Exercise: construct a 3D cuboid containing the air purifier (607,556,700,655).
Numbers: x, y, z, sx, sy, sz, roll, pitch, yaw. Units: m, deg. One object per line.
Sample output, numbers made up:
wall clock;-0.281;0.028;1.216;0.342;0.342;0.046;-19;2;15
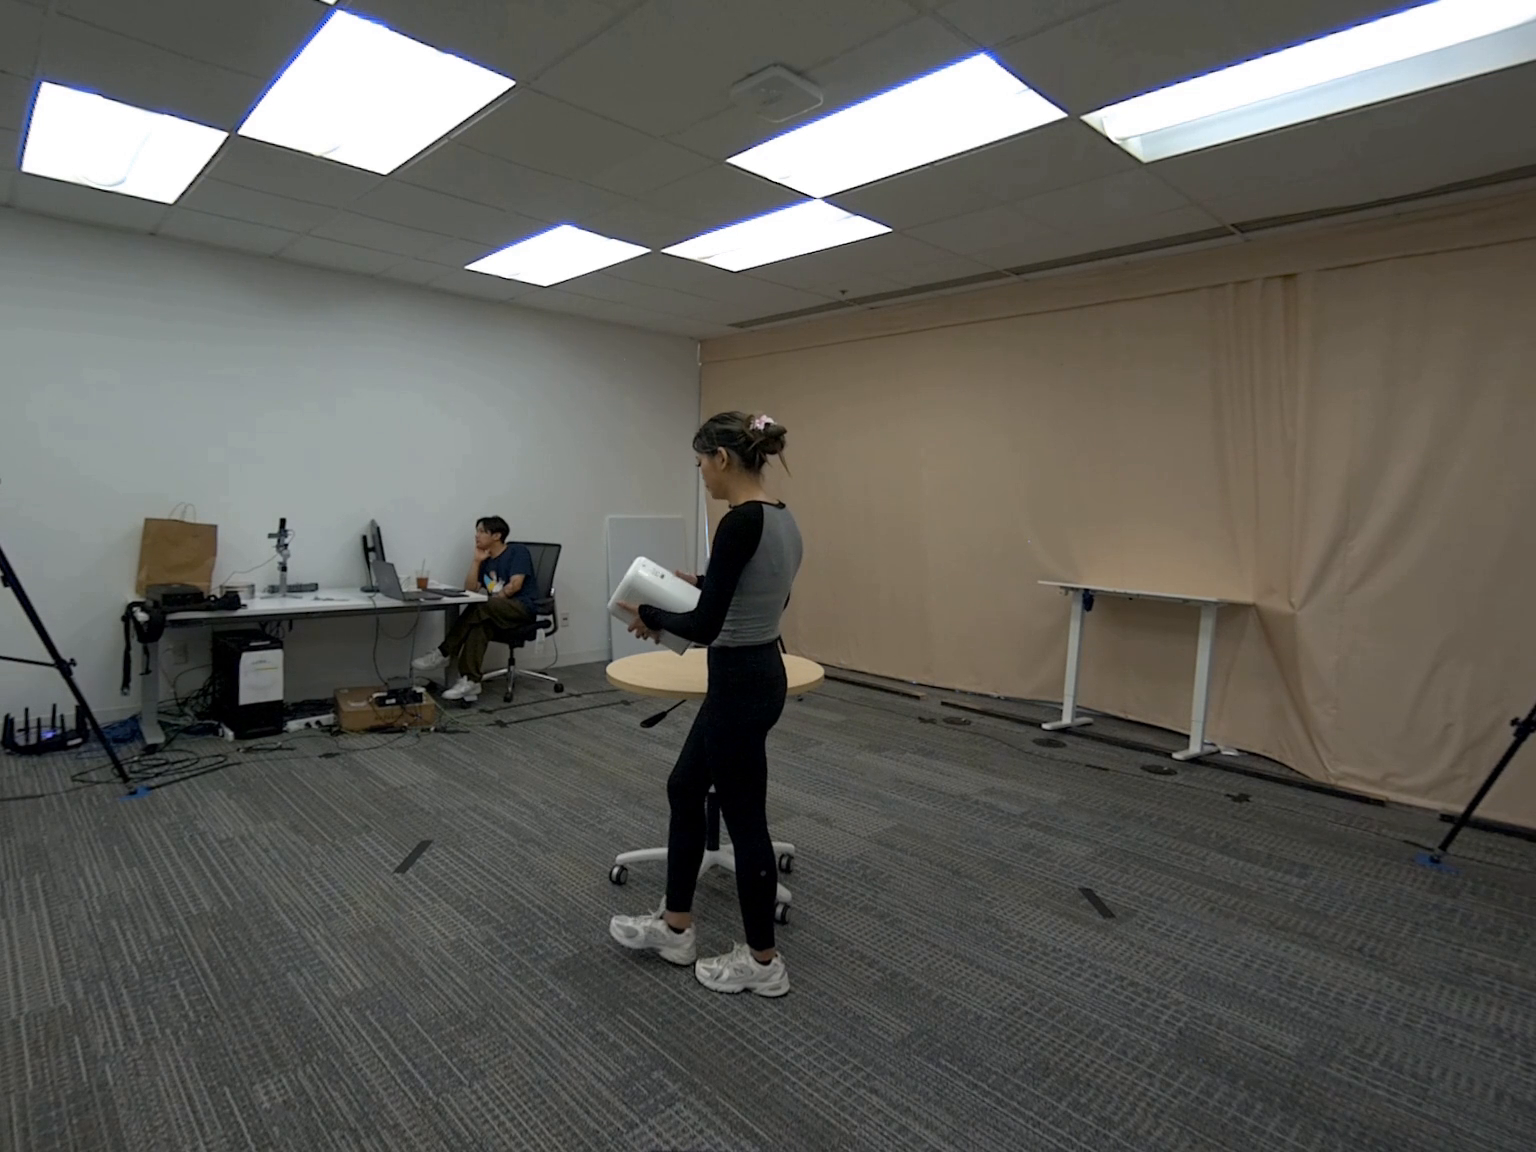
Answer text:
air purifier;-0.324;0.085;2.495;0.263;0.171;0.173;31;24;-7
